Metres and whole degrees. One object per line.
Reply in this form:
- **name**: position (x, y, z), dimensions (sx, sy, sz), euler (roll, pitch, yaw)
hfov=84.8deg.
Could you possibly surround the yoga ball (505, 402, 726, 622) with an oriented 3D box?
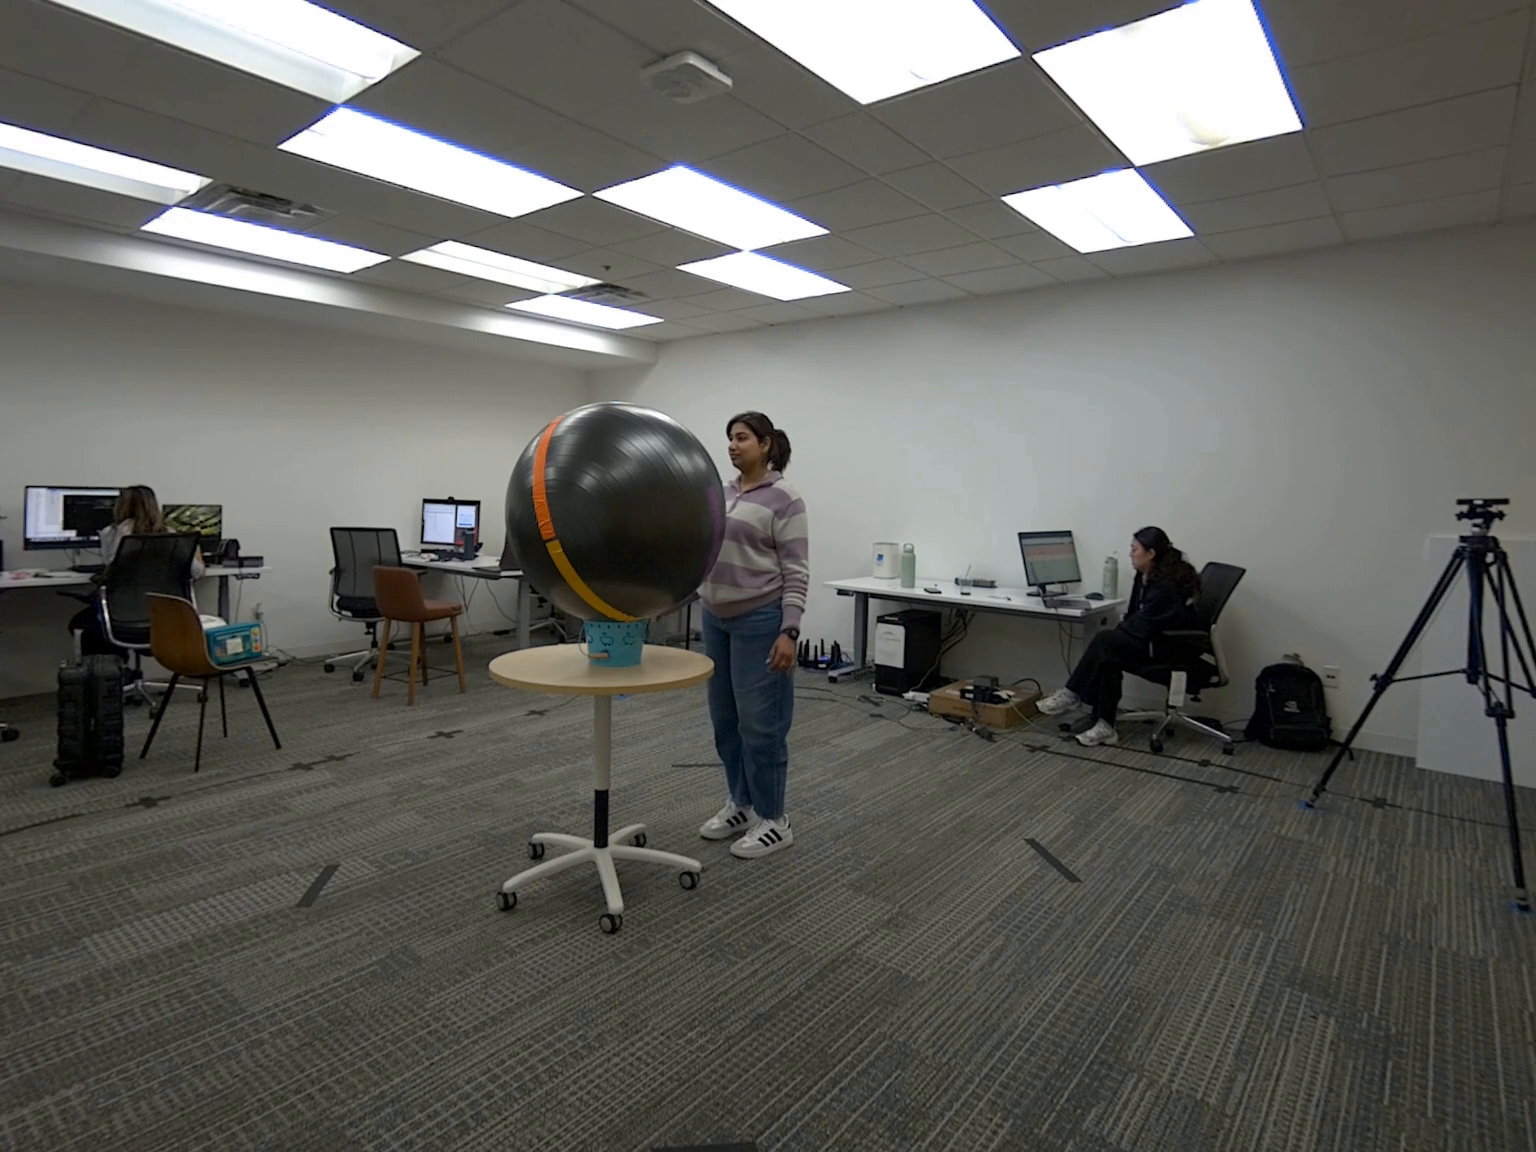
- **yoga ball**: position (-0.534, -0.213, 2.929), dimensions (0.757, 0.755, 0.762), euler (1, 4, -2)
